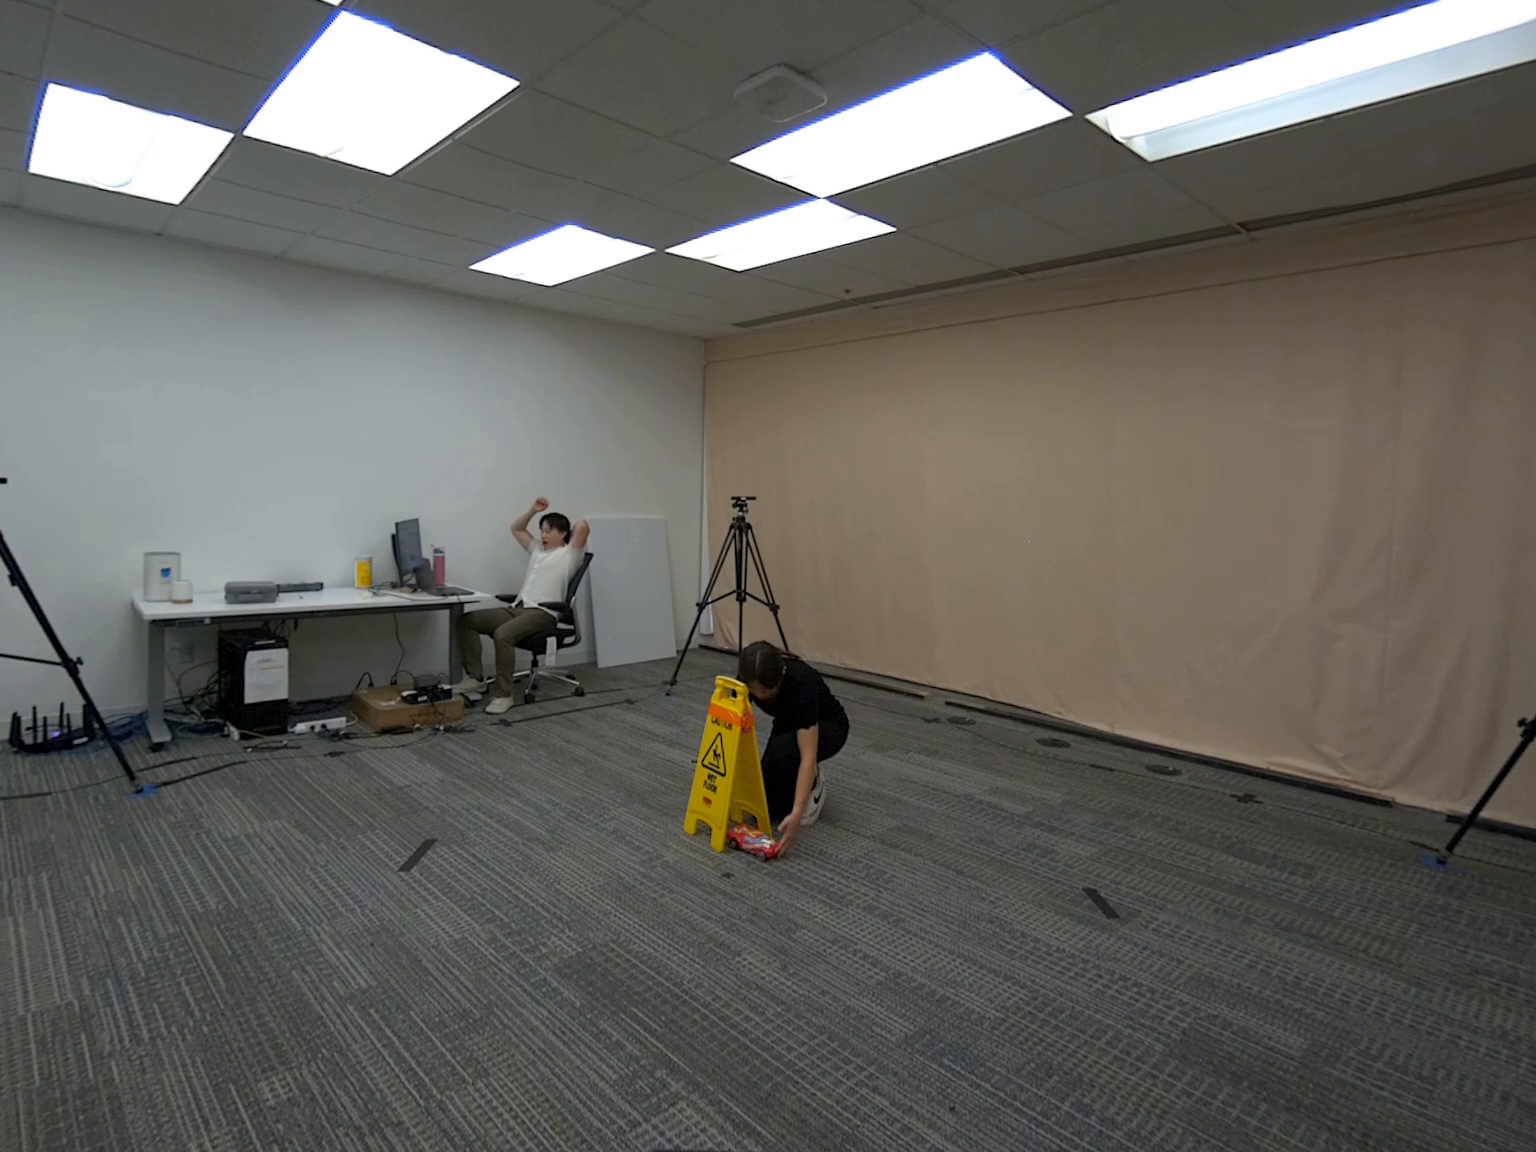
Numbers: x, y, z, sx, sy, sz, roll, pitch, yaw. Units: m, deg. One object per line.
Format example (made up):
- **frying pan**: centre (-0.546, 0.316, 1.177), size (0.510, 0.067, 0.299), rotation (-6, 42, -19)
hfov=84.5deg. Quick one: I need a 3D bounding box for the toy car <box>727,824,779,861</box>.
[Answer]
- **toy car**: centre (-0.069, 1.051, 3.350), size (0.262, 0.082, 0.127), rotation (18, 15, 41)
